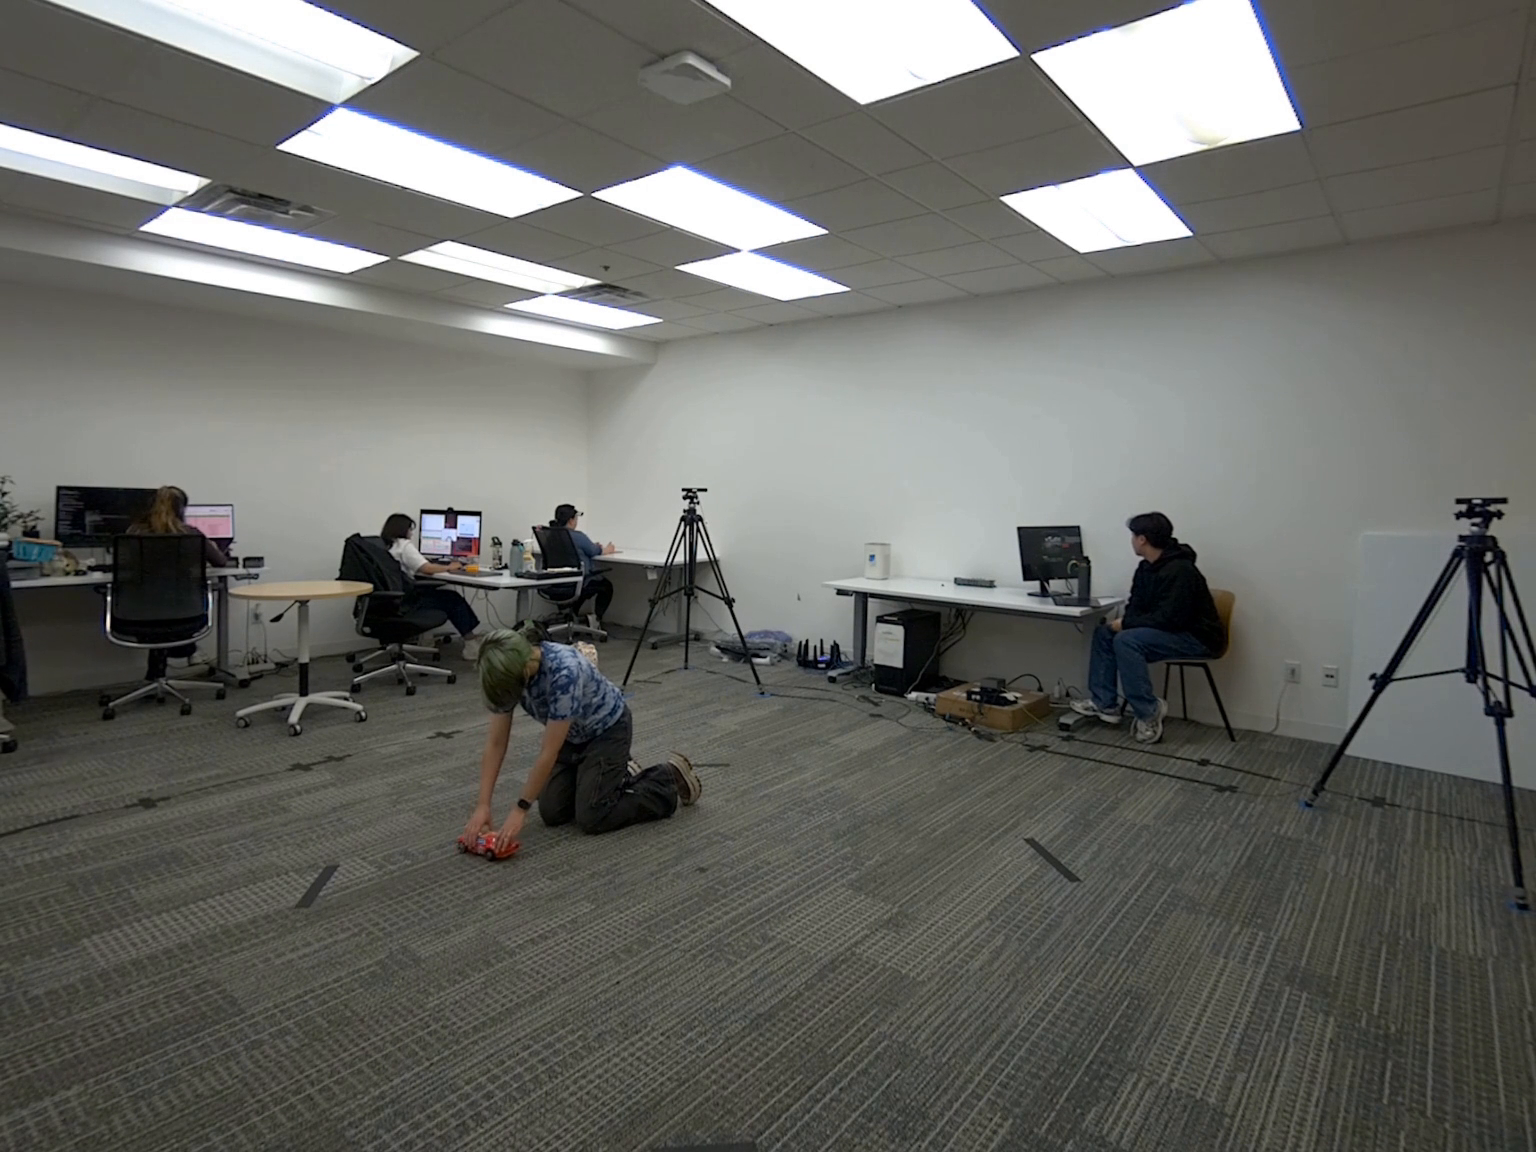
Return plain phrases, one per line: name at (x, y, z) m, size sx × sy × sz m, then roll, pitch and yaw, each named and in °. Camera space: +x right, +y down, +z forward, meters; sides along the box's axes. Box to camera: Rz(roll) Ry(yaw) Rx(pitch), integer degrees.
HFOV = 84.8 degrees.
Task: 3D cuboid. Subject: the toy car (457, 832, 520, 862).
toy car at (-1.062, 1.019, 3.216) m, size 0.260 × 0.083 × 0.127 m, roll -10°, pitch 0°, yaw 28°
